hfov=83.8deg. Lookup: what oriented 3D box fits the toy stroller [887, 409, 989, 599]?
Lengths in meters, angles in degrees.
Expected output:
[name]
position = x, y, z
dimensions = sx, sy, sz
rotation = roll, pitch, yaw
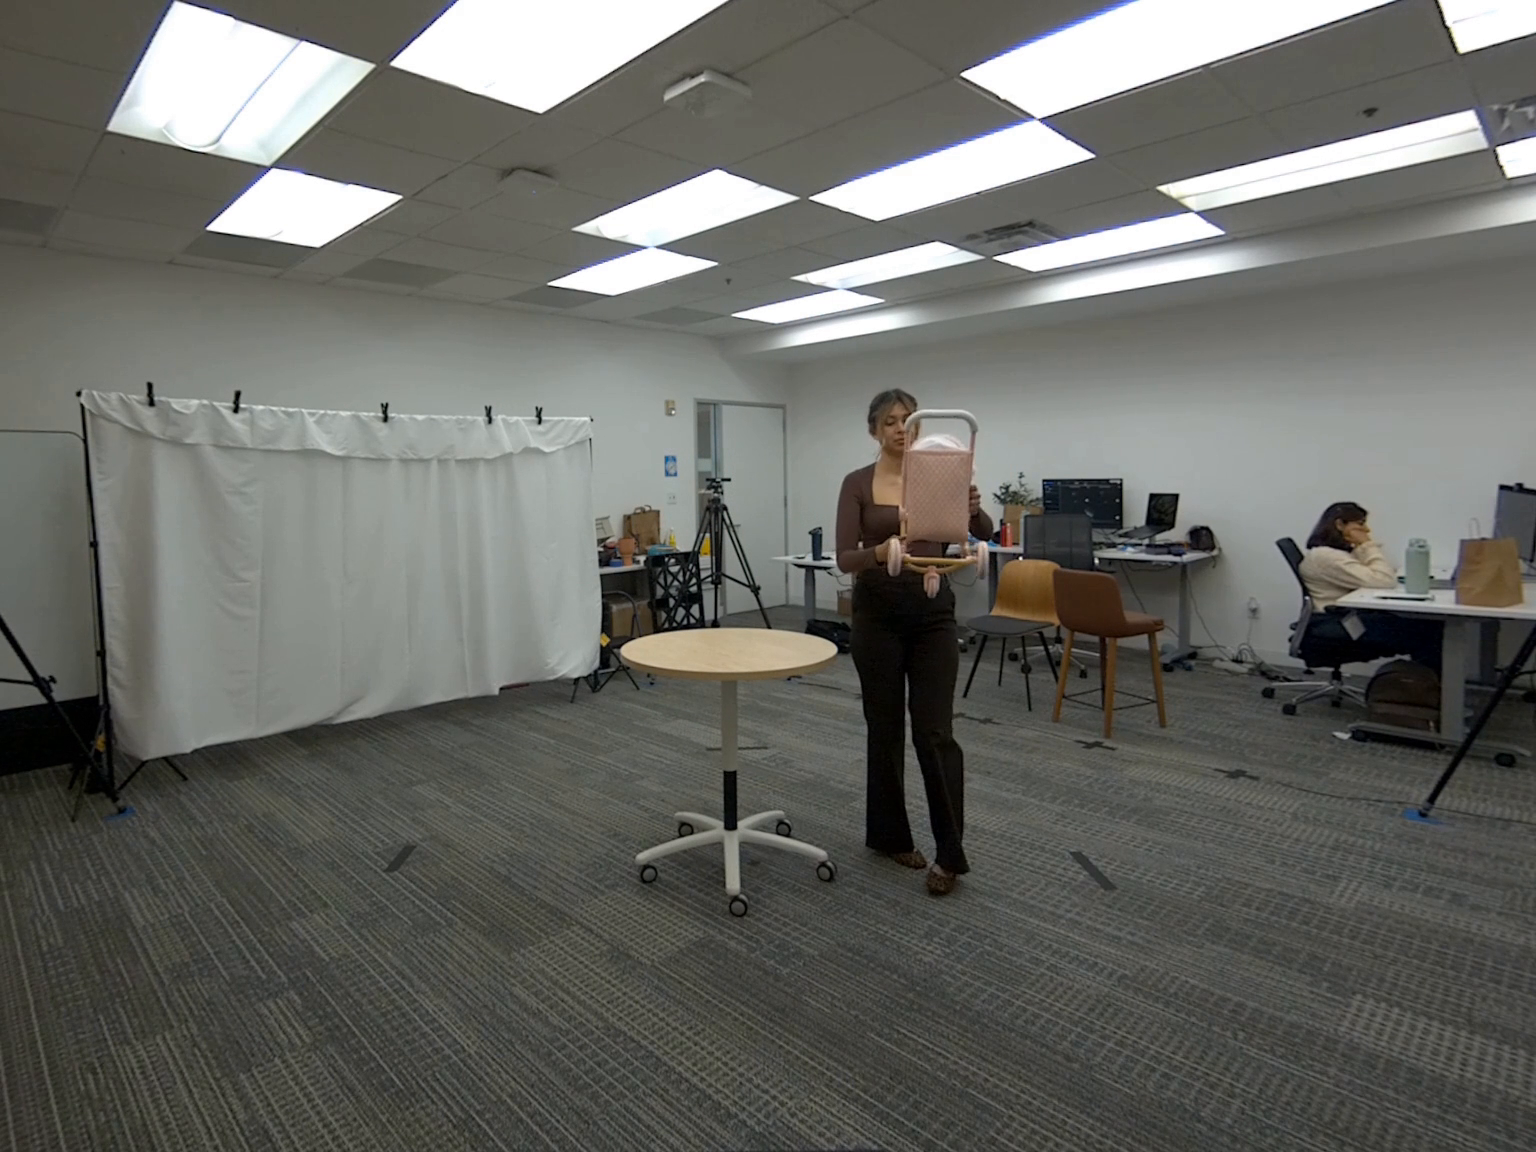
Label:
[toy stroller]
position = 0.518, -0.201, 2.588
dimensions = 0.284, 0.537, 0.336
rotation = -1, -4, 11
